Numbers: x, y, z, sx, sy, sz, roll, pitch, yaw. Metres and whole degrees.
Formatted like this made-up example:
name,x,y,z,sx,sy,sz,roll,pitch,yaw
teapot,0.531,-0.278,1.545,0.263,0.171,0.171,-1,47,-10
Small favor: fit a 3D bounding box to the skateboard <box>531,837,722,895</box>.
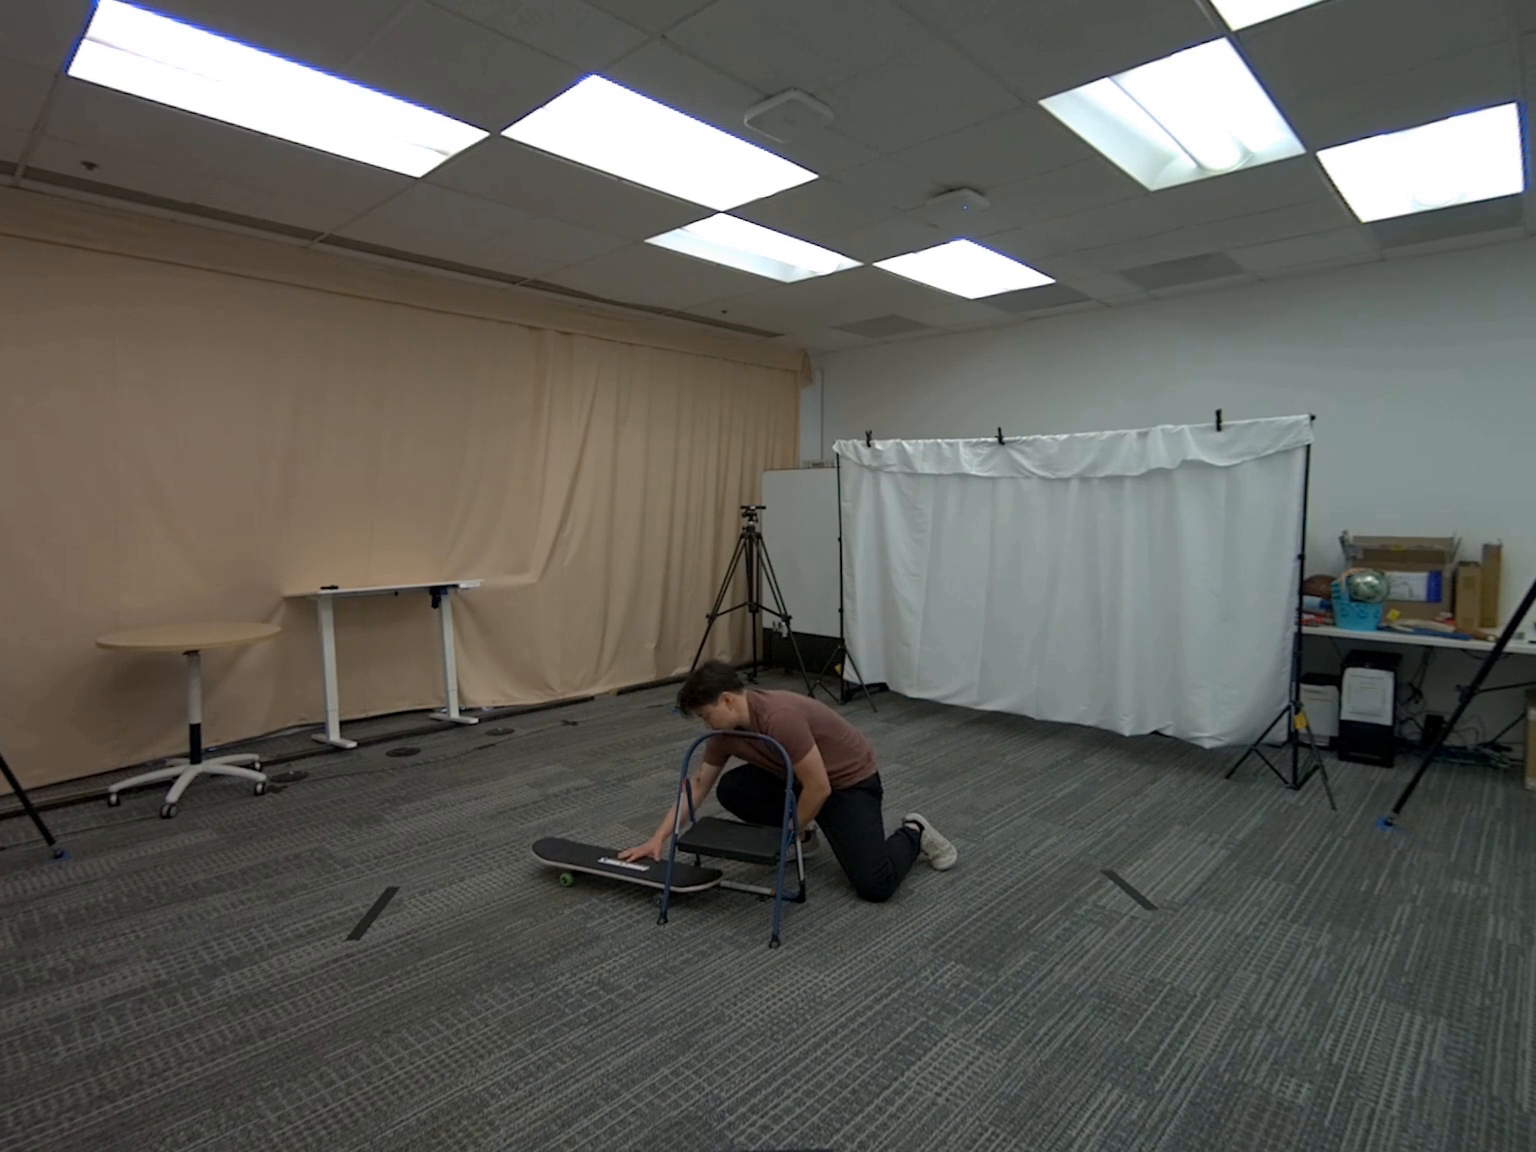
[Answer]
name,x,y,z,sx,sy,sz,roll,pitch,yaw
skateboard,-0.526,1.084,3.074,0.804,0.110,0.189,1,4,23
